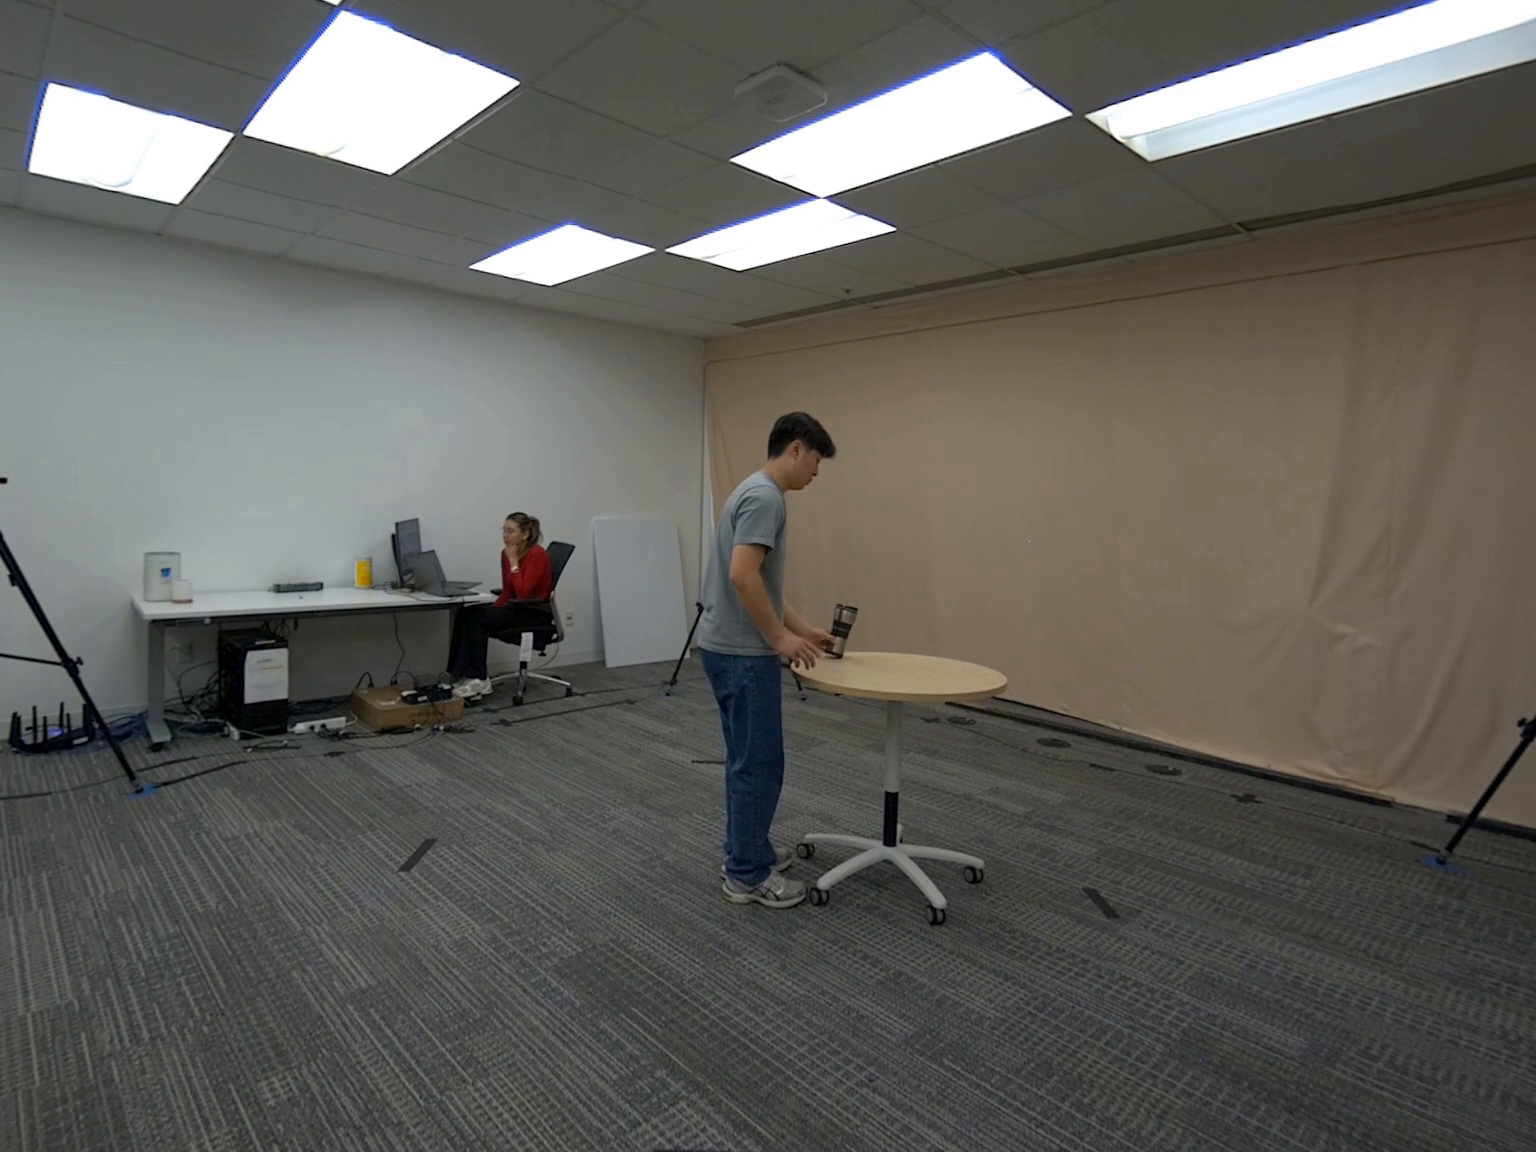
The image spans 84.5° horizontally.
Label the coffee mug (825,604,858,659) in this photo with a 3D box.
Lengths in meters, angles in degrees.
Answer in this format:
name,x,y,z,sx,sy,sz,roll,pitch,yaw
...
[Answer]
name,x,y,z,sx,sy,sz,roll,pitch,yaw
coffee mug,0.293,0.215,3.284,0.089,0.203,0.119,9,-4,21
